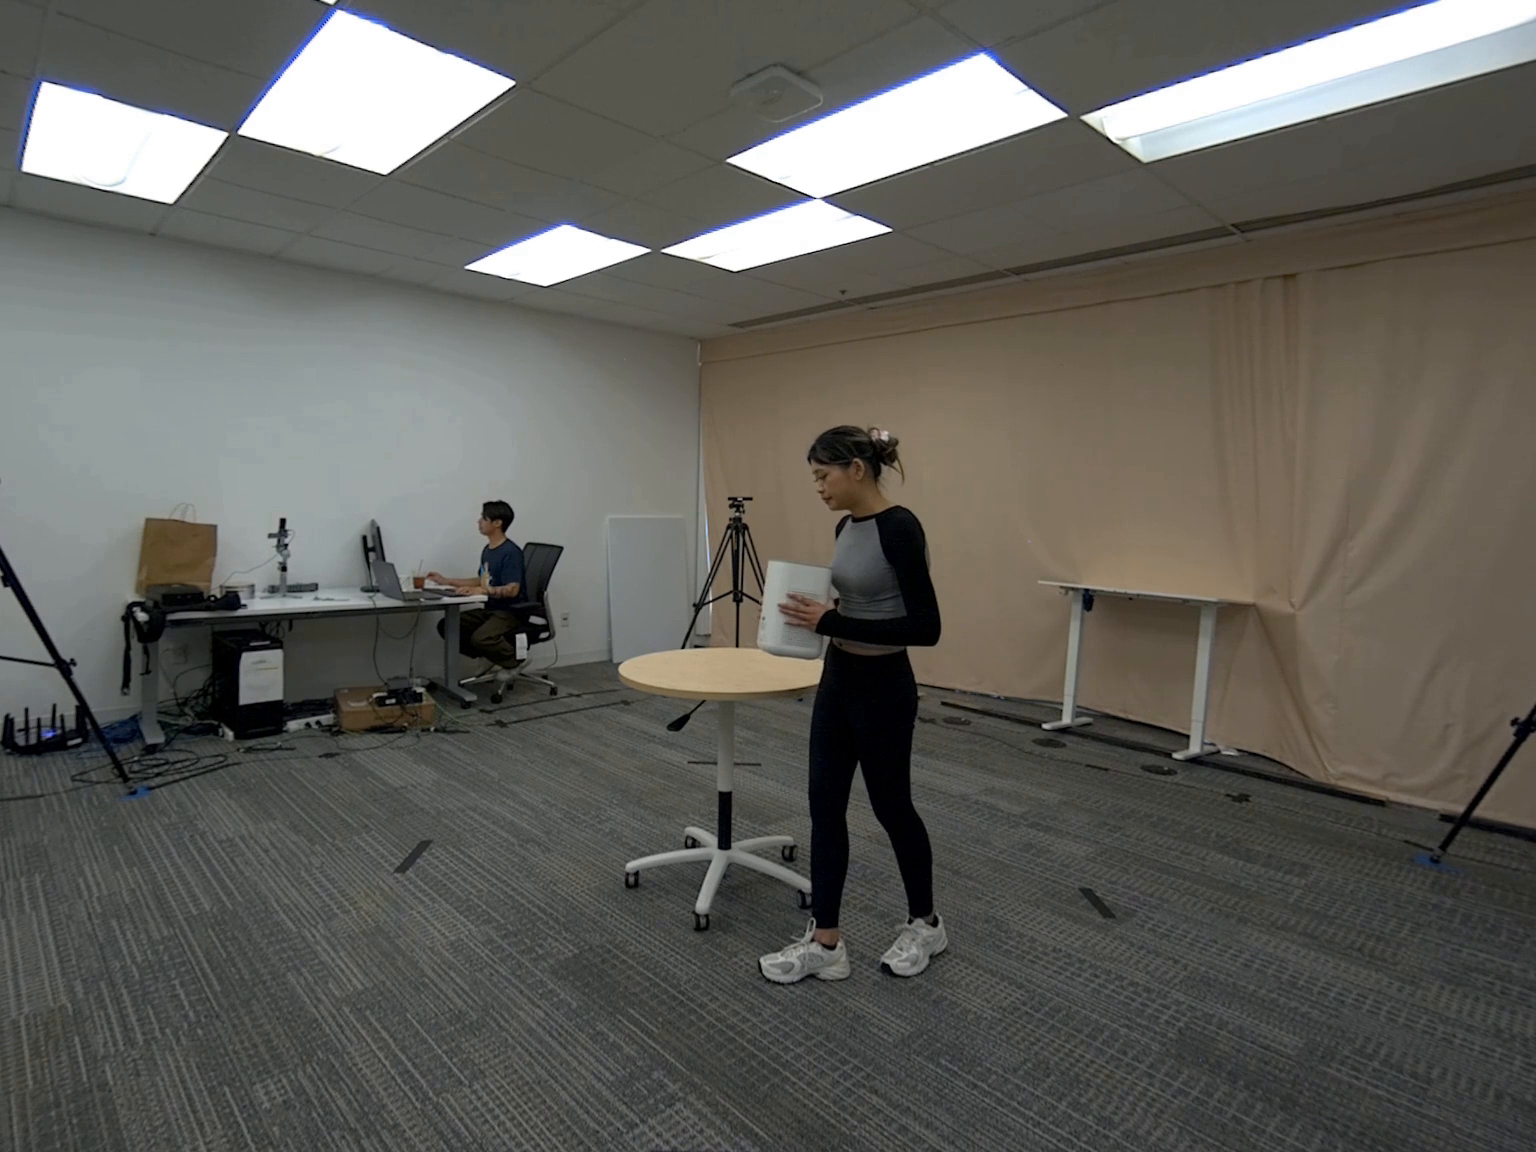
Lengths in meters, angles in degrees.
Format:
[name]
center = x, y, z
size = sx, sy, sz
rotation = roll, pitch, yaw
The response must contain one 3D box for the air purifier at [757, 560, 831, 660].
[air purifier]
center = 0.078, 0.099, 2.402
size = 0.169, 0.266, 0.173
rotation = 8, -3, -14
